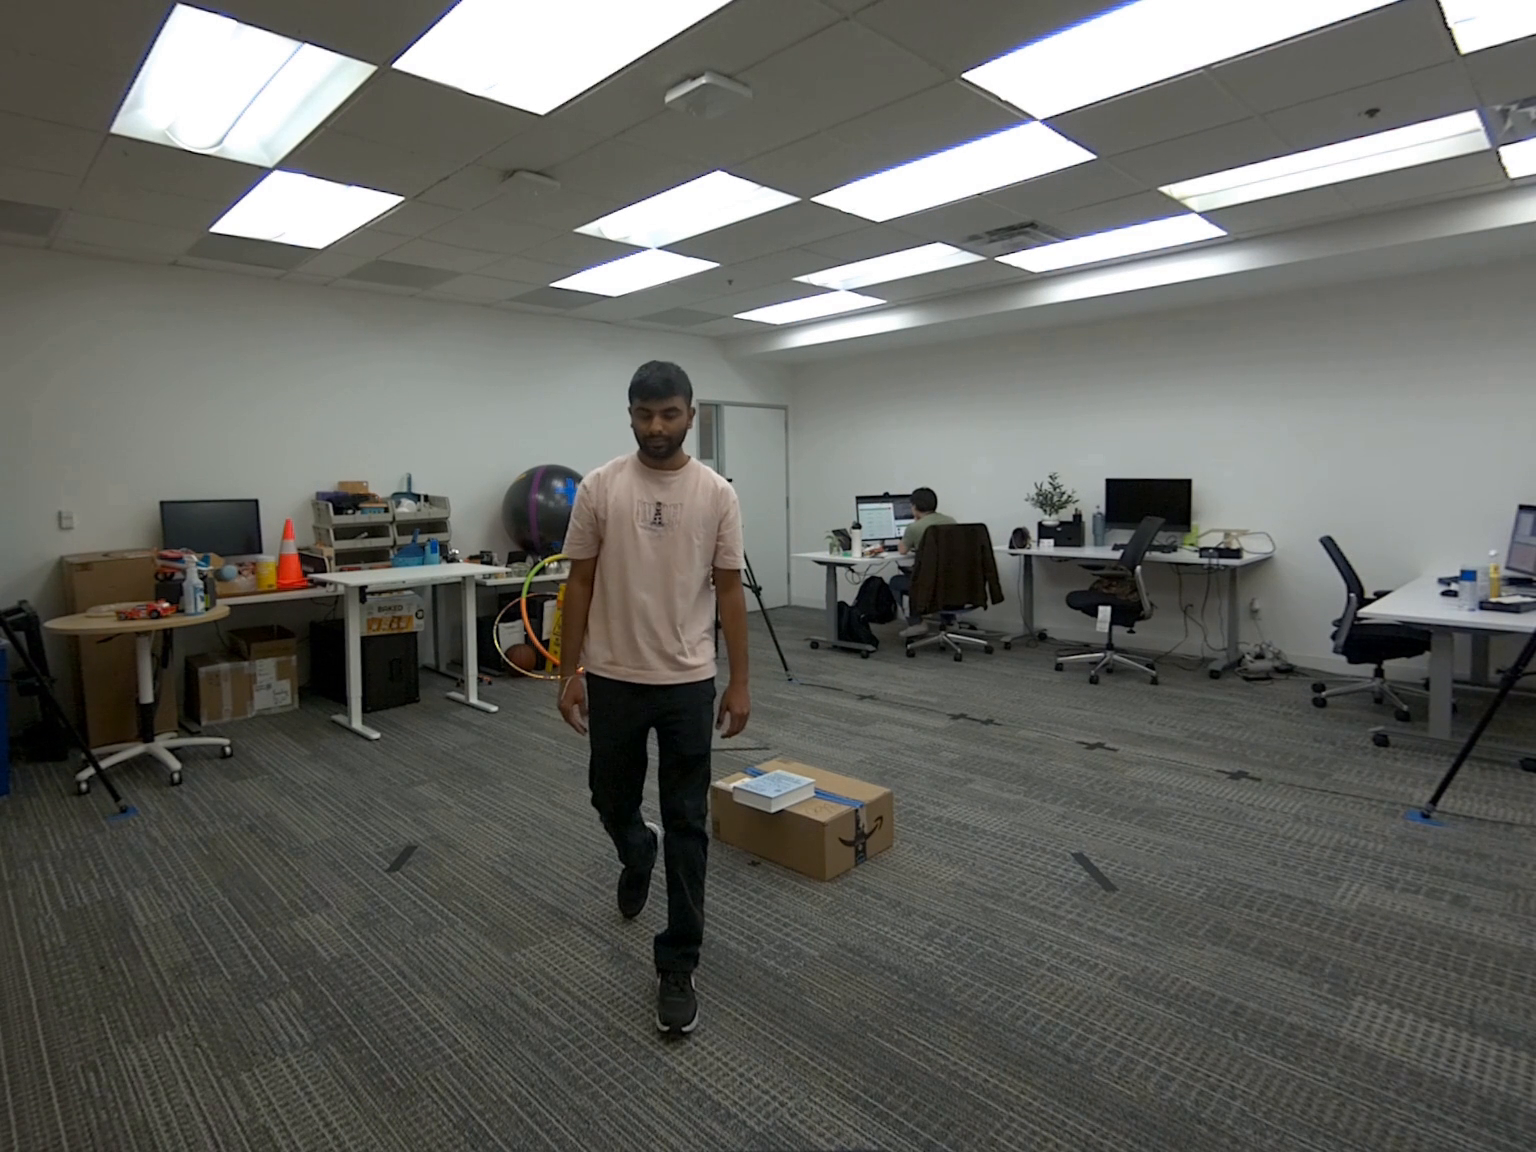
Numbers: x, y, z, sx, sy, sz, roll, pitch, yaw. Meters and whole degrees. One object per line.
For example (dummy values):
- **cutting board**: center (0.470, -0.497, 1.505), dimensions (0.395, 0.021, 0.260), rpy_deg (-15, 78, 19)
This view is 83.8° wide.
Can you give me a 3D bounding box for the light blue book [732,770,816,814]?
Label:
- **light blue book**: center (0.025, 0.793, 3.174), dimensions (0.197, 0.059, 0.254), rpy_deg (5, 6, 41)
